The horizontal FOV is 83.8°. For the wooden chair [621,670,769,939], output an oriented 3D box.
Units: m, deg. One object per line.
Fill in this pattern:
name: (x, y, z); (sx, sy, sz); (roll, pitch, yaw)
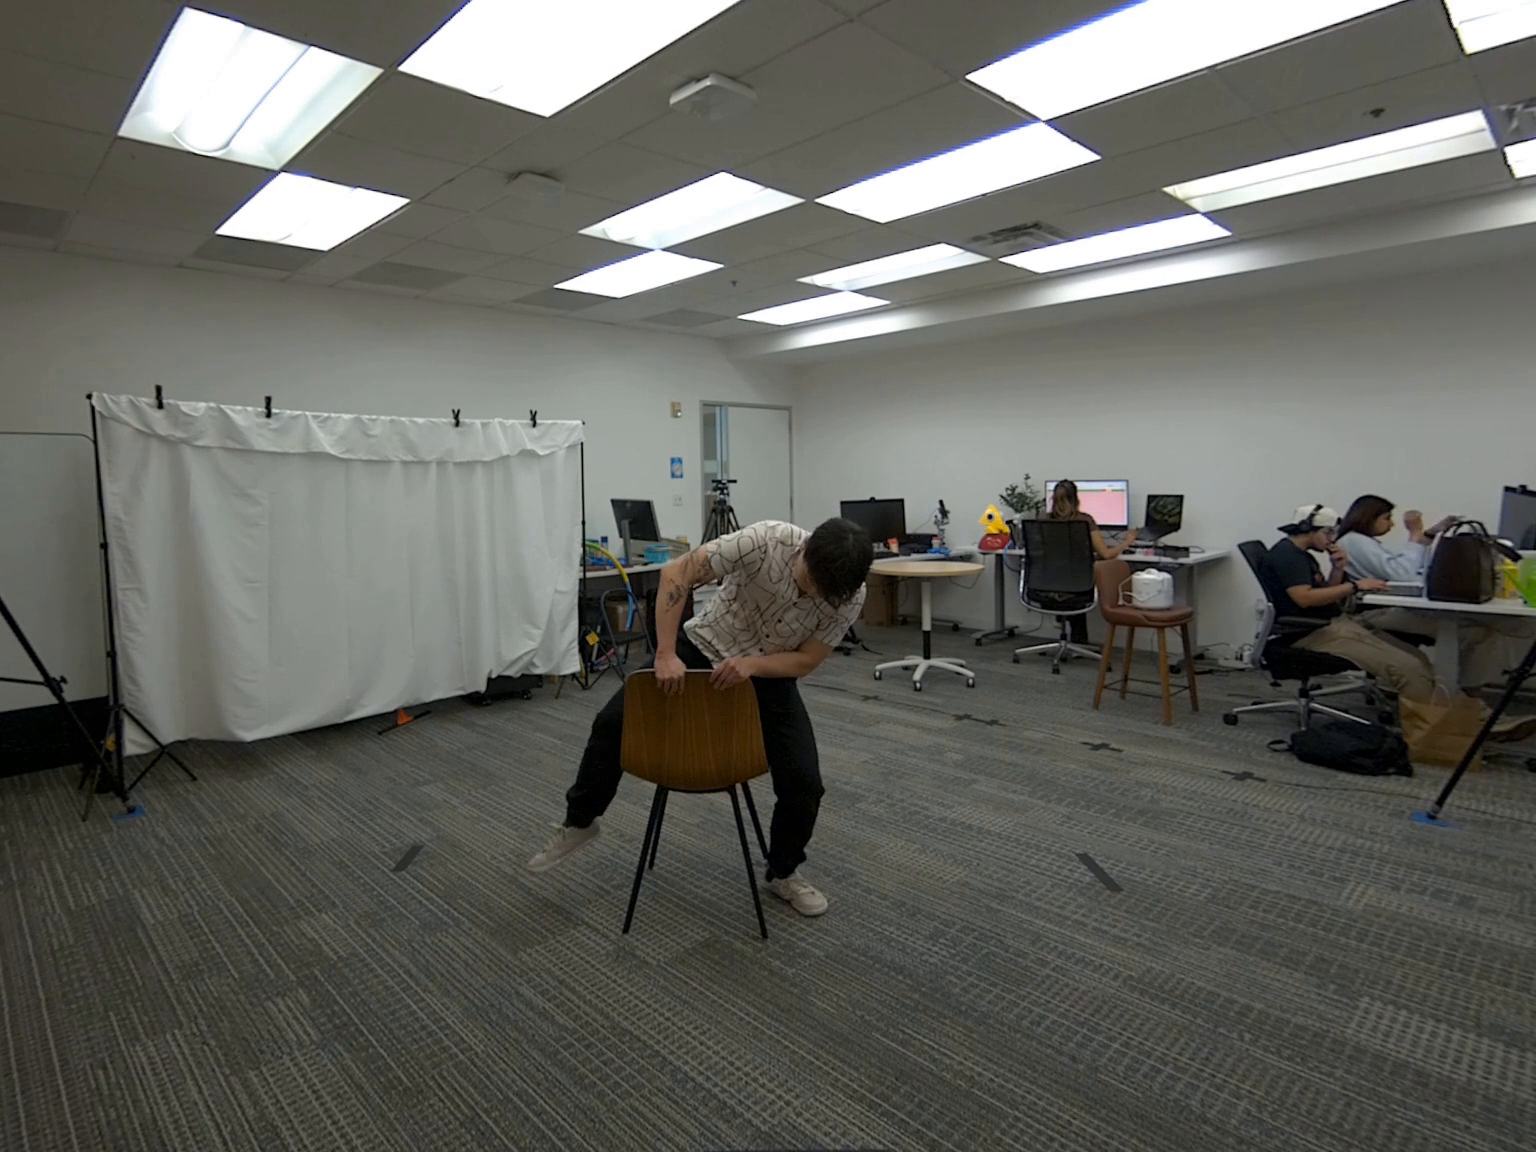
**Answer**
wooden chair: (-0.228, 0.658, 2.826); (0.480, 0.870, 0.525); (-1, 9, 4)
